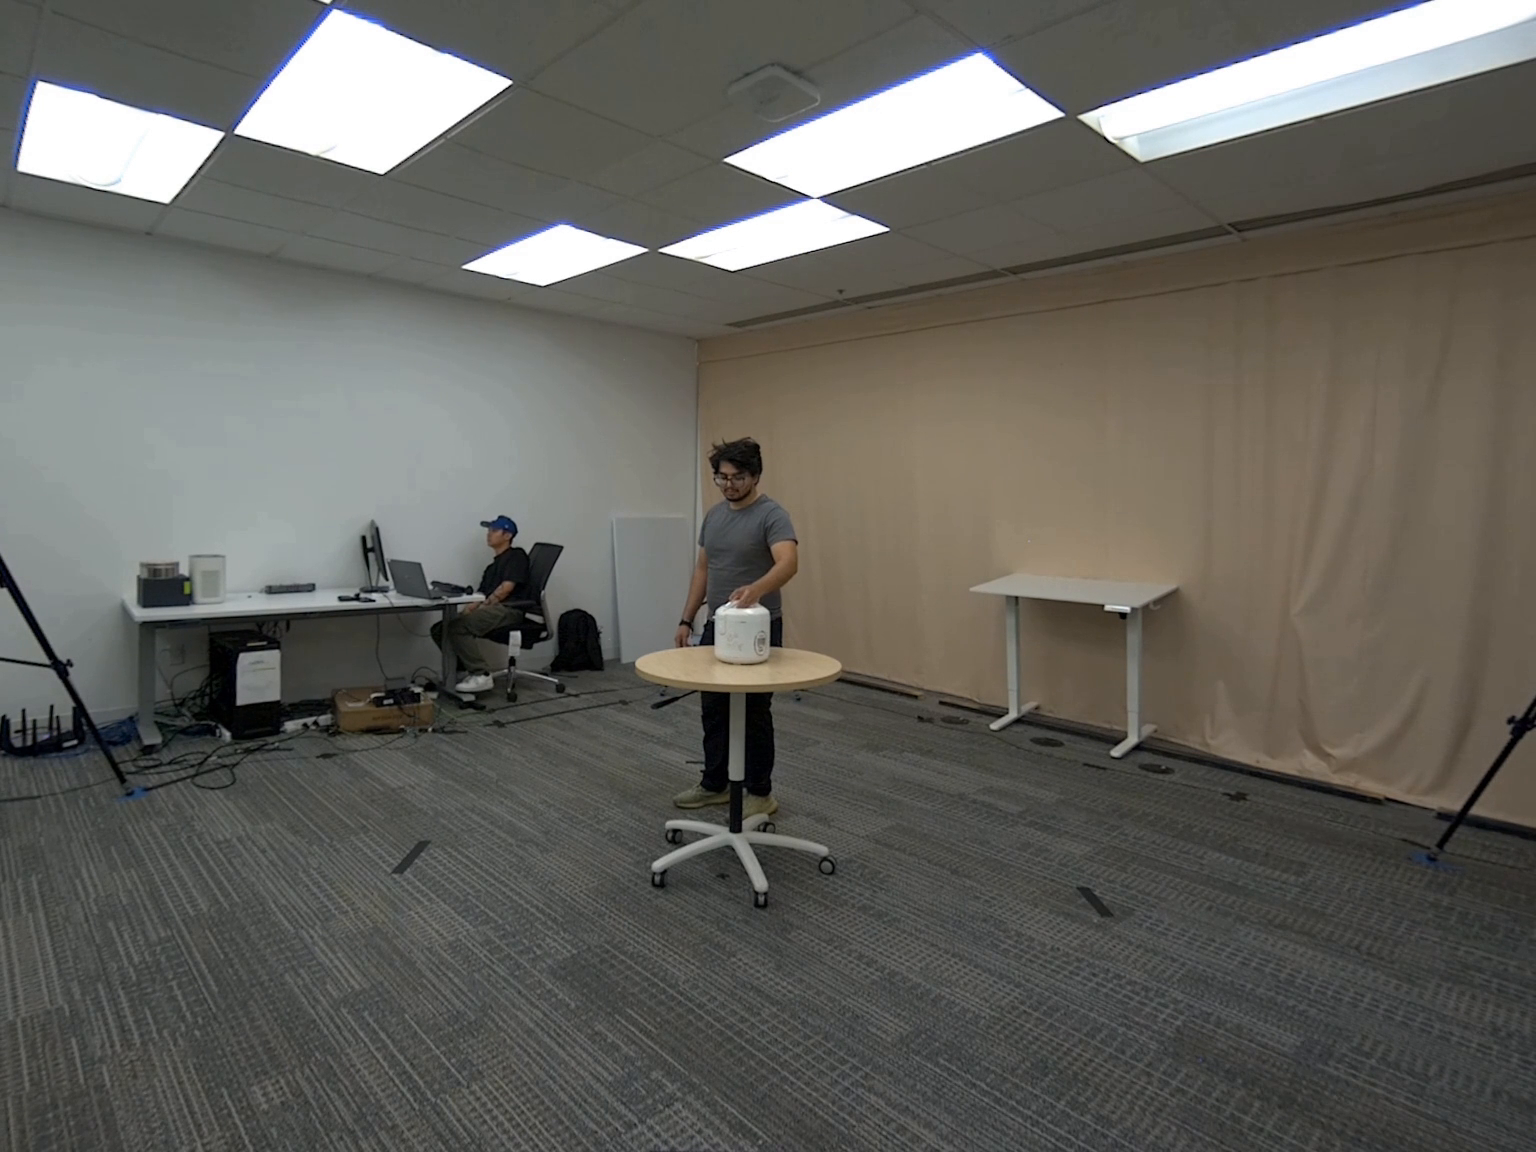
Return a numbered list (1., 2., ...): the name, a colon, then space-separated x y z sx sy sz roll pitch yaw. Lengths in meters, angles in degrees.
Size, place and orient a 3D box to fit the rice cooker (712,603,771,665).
1. rice cooker: -0.107 0.205 3.169 0.215 0.232 0.223 -3 5 -41
